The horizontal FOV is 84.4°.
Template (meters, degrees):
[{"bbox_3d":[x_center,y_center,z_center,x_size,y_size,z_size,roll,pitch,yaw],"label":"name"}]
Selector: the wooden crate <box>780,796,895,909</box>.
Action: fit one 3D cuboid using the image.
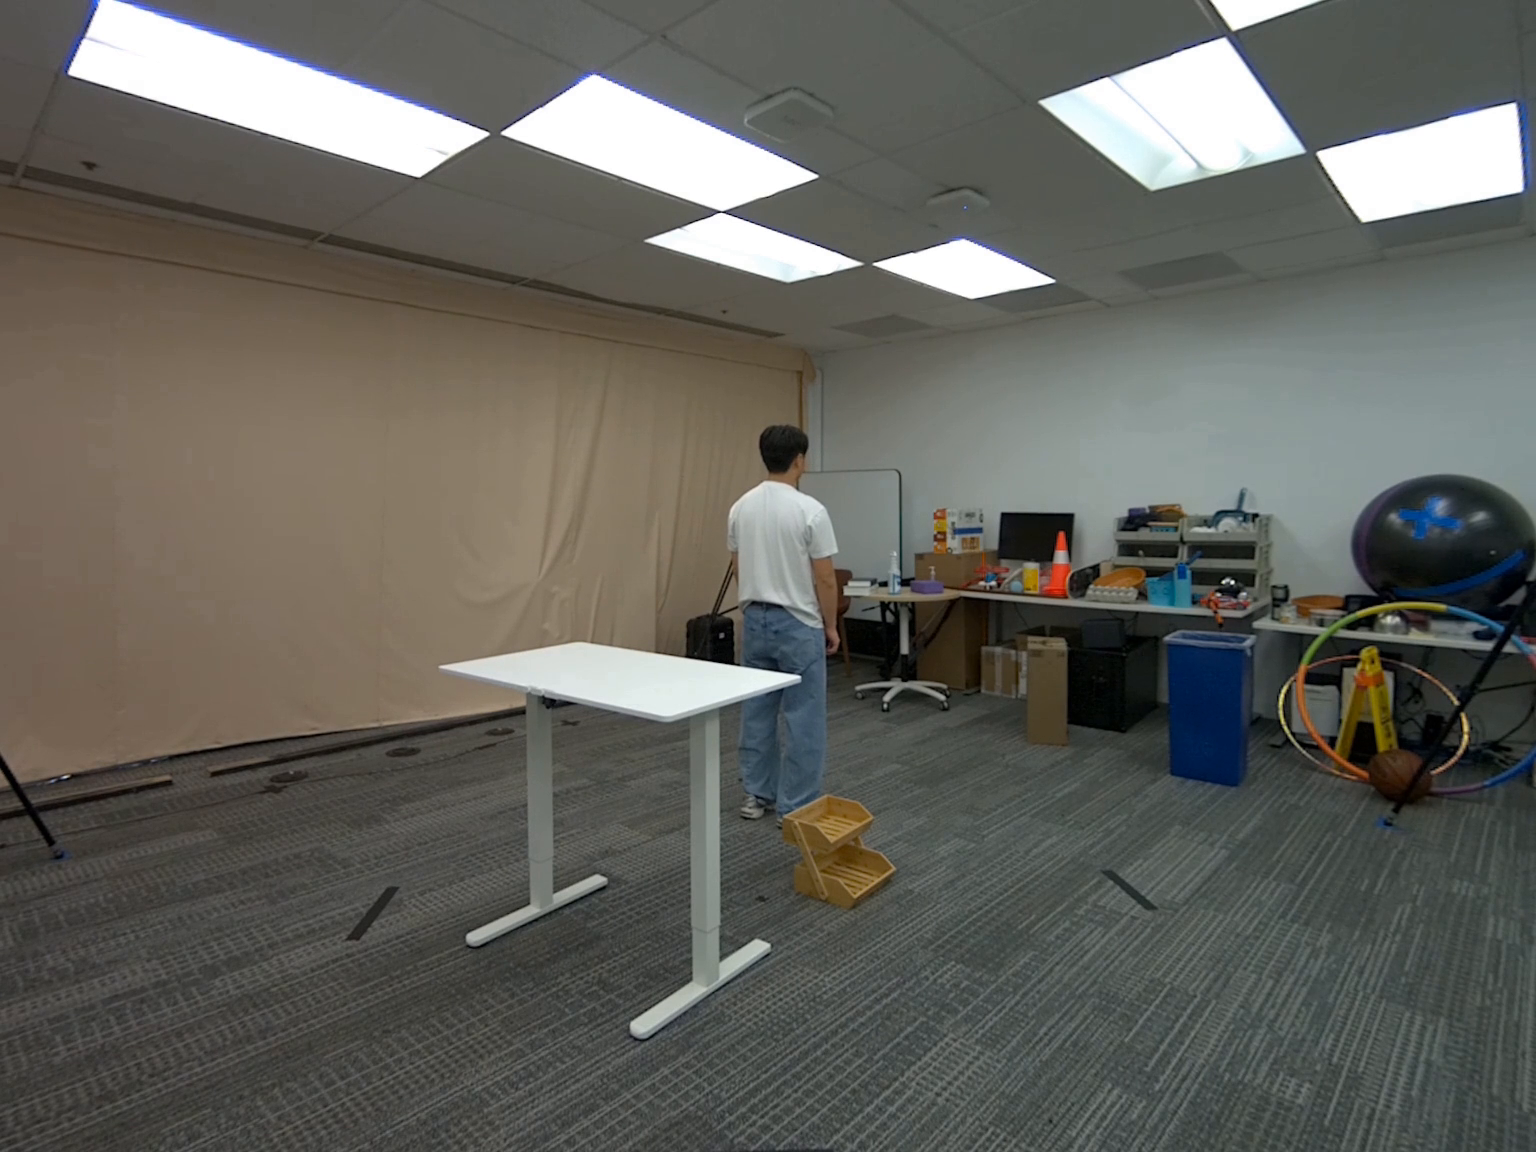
[{"bbox_3d":[0.265,0.994,3.091,0.312,0.273,0.315,2,5,38],"label":"wooden crate"}]
